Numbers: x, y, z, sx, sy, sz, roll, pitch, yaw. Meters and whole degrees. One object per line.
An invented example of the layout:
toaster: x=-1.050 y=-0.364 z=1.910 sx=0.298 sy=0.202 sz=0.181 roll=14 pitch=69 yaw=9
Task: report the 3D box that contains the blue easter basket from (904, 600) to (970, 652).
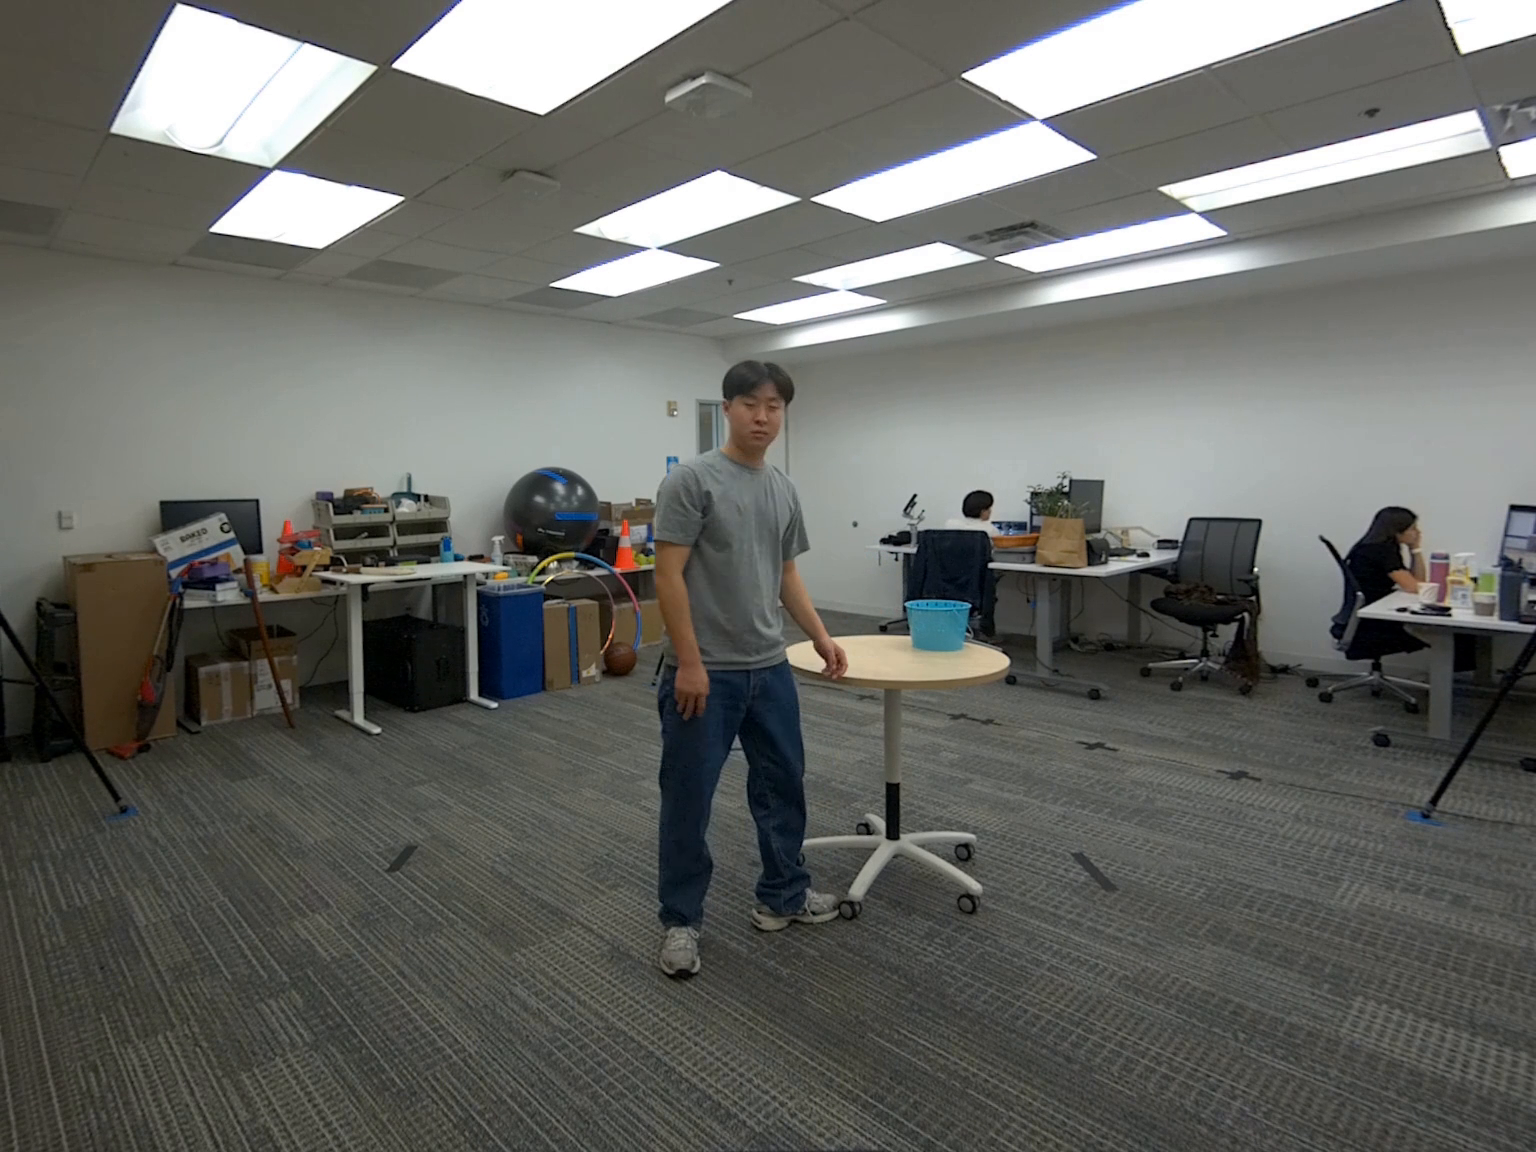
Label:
blue easter basket: x=0.632 y=0.183 z=3.074 sx=0.243 sy=0.155 sz=0.245 roll=0 pitch=5 yaw=-2
